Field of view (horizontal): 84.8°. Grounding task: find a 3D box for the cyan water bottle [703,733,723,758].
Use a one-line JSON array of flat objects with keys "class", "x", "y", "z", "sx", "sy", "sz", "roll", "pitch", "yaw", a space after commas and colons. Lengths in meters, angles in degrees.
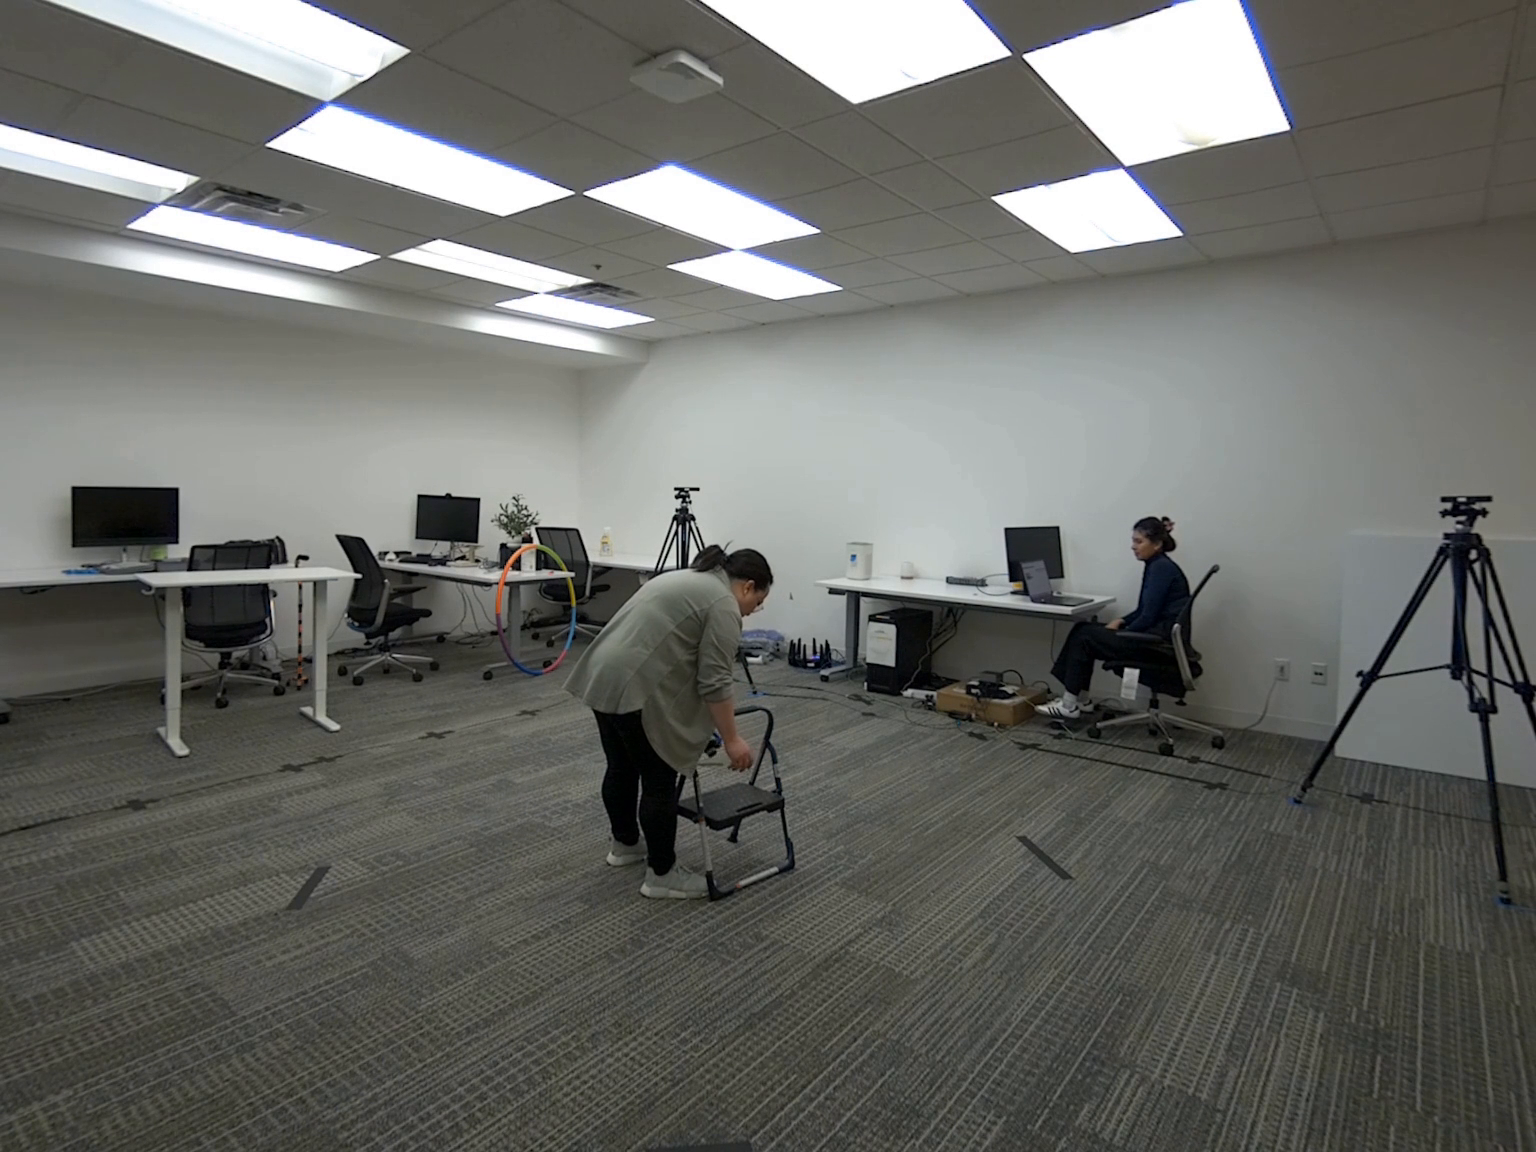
[{"class": "cyan water bottle", "x": -0.269, "y": 0.568, "z": 3.255, "sx": 0.089, "sy": 0.091, "sz": 0.295, "roll": -3, "pitch": 34, "yaw": -44}]
